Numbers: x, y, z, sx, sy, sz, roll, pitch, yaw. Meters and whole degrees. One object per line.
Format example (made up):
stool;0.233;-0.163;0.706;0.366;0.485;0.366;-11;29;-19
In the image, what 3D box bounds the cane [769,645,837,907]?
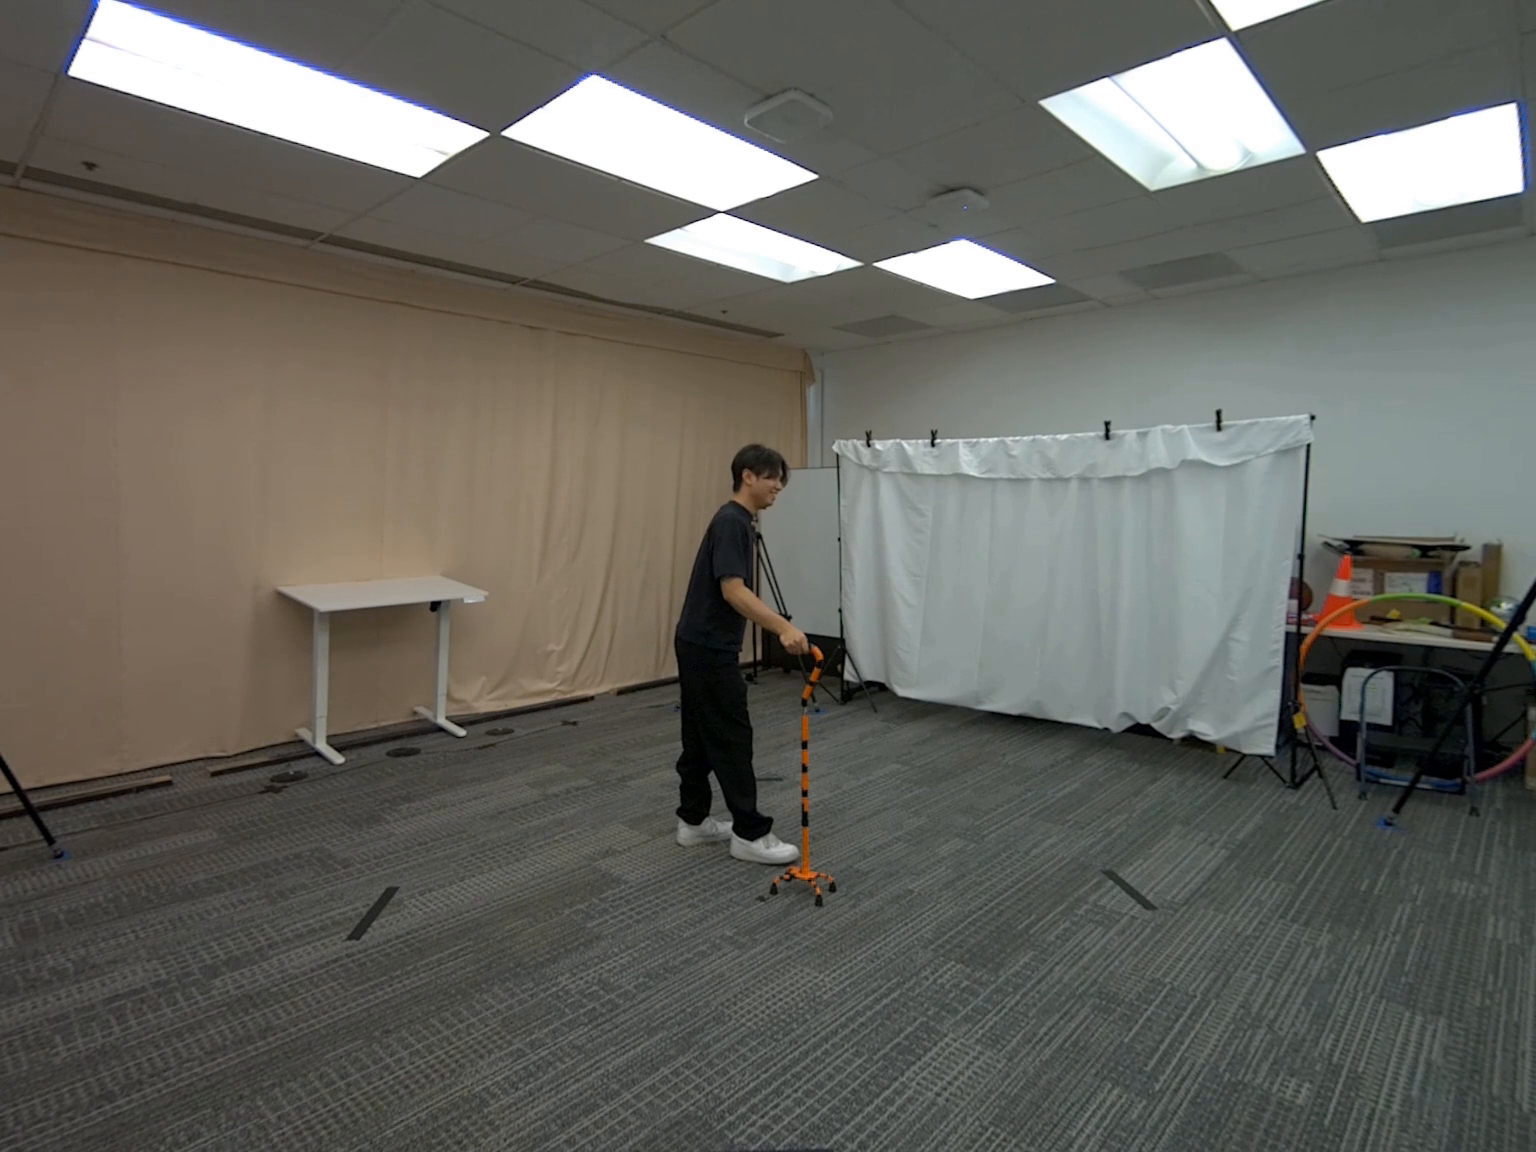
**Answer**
cane;0.126;0.690;3.007;0.212;0.906;0.148;1;4;27
